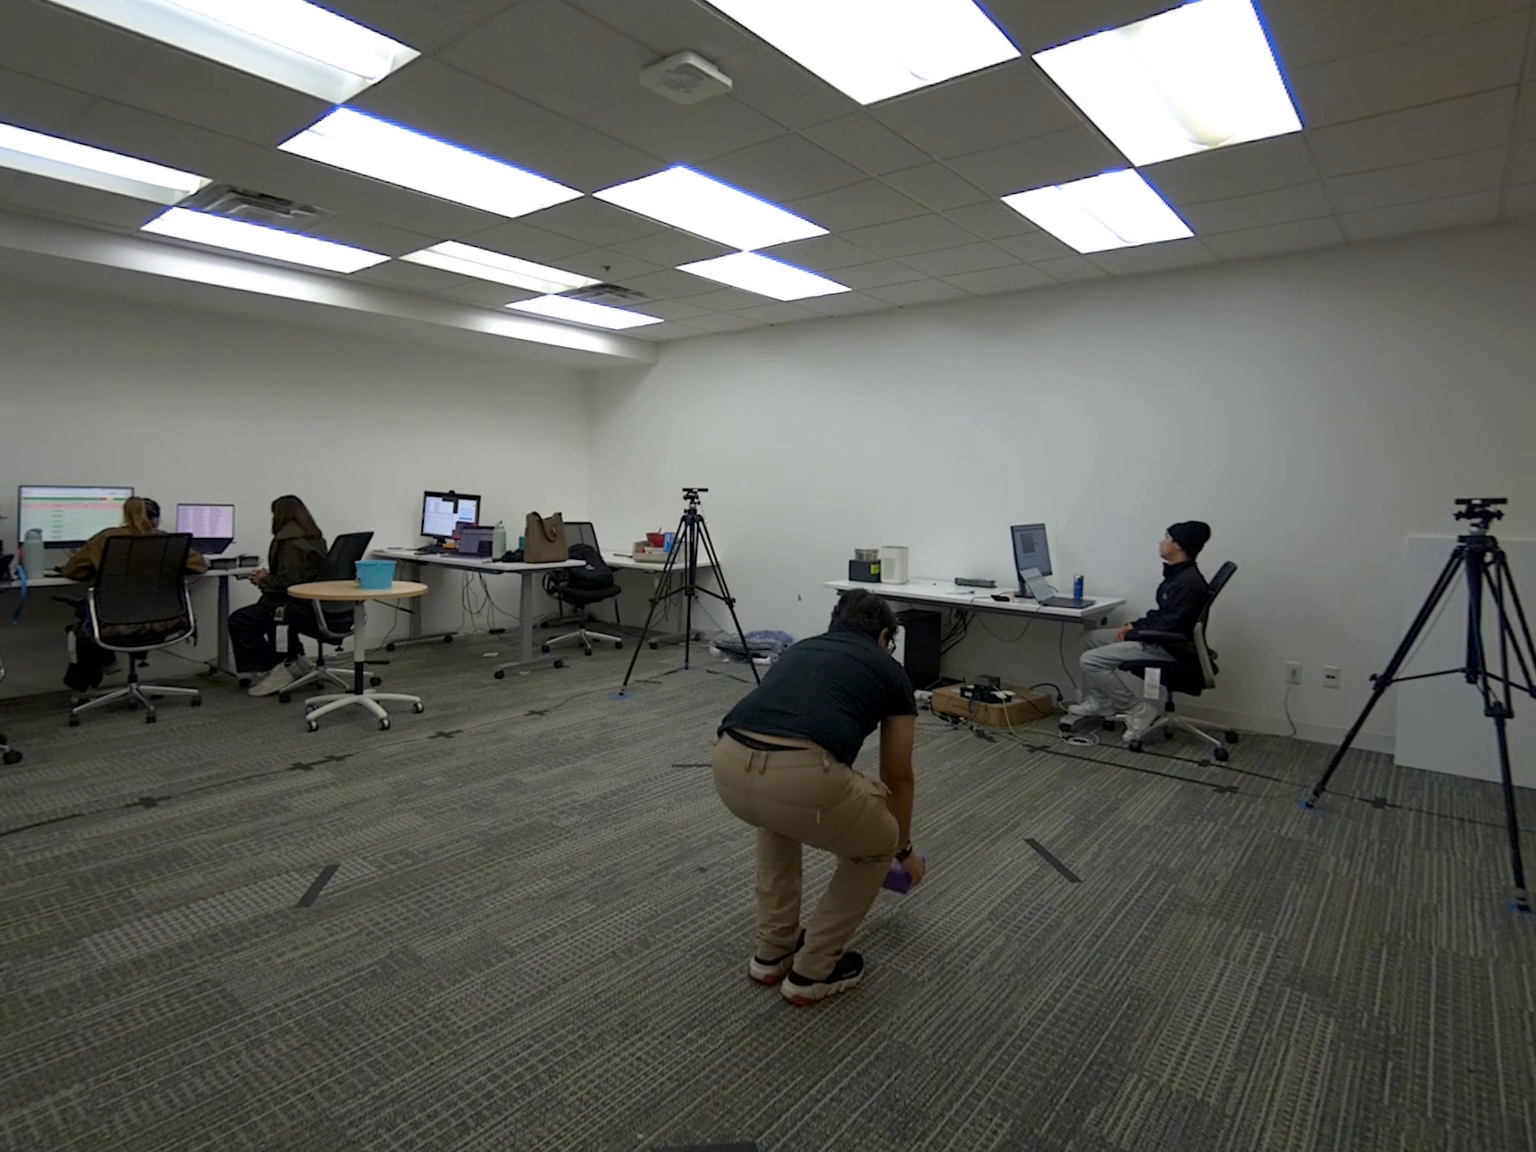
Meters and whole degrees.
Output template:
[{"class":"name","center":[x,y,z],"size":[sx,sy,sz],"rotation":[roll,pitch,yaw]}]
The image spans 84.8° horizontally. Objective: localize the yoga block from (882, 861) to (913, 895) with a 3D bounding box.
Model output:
[{"class":"yoga block","center":[0.371,0.916,2.749],"size":[0.236,0.076,0.145],"rotation":[2,9,36]}]
